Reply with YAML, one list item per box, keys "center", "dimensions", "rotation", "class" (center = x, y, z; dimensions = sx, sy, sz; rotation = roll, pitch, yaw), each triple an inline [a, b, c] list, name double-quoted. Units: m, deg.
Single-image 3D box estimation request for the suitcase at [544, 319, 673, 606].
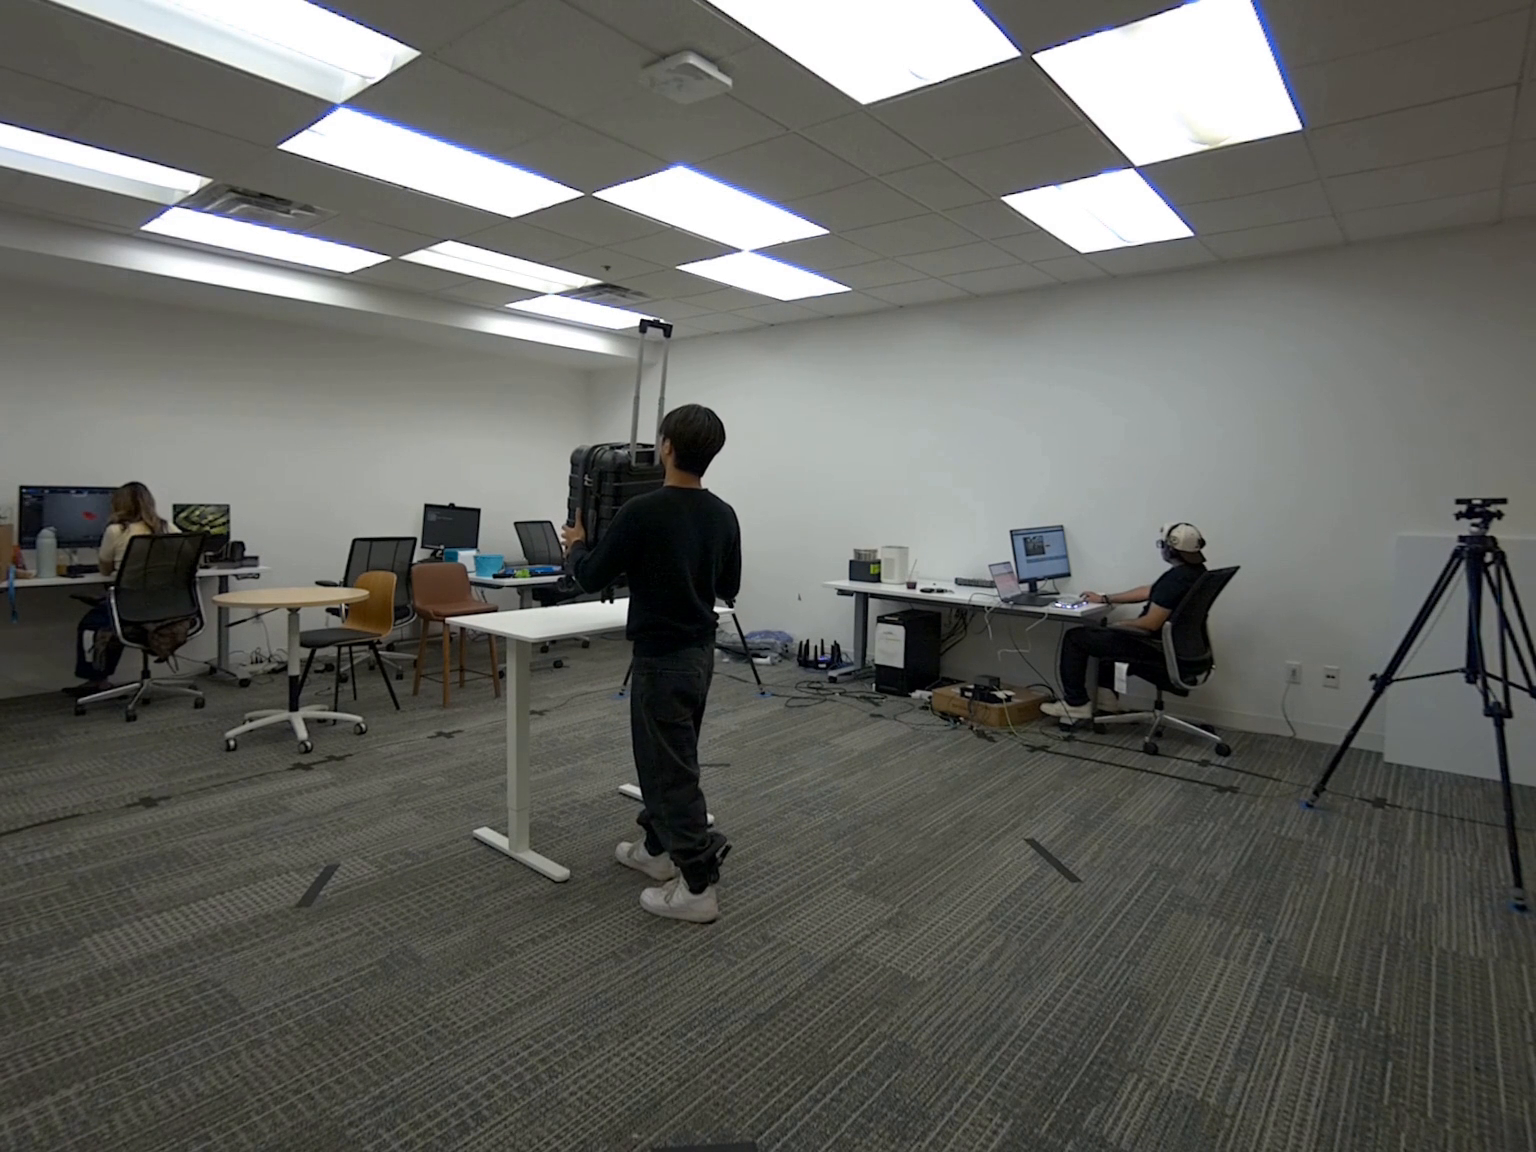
- center: [-0.536, -0.414, 3.046]
  dimensions: [0.266, 0.969, 0.374]
  rotation: [12, 13, 35]
  class: "suitcase"
